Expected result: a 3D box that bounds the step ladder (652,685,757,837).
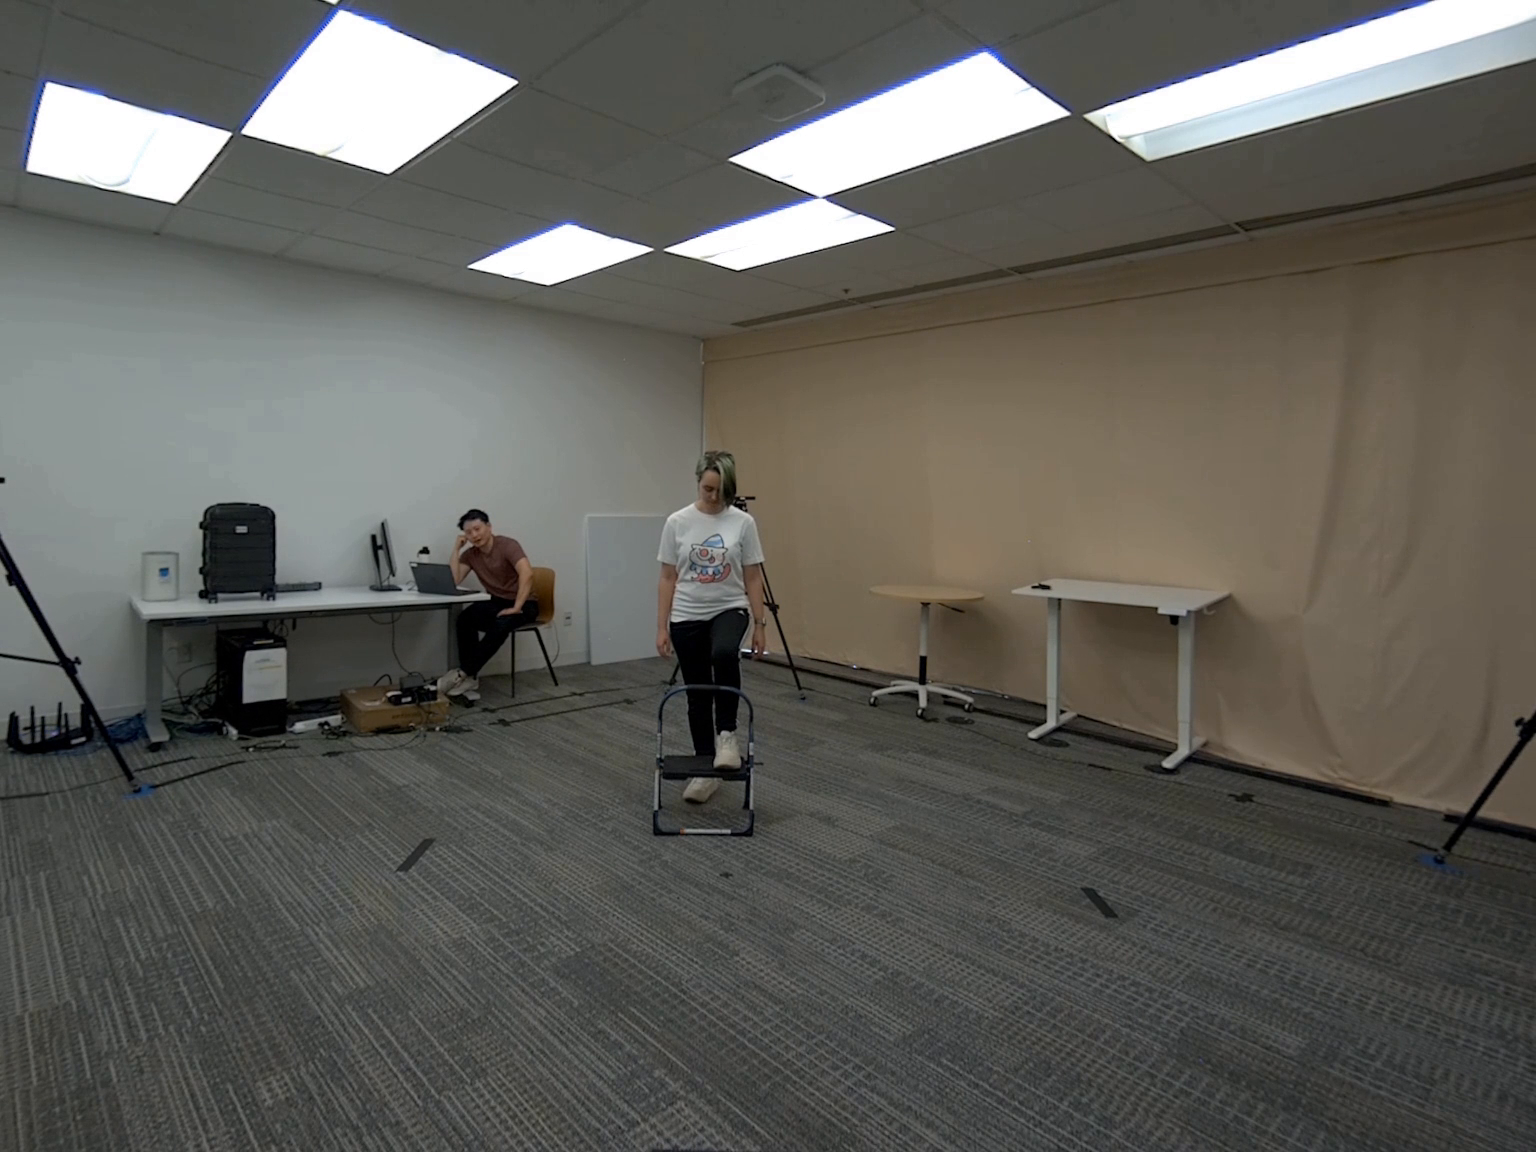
[{"bbox_3d":[-0.284,0.761,3.616,0.429,0.605,0.351,1,3,-4],"label":"step ladder"}]
